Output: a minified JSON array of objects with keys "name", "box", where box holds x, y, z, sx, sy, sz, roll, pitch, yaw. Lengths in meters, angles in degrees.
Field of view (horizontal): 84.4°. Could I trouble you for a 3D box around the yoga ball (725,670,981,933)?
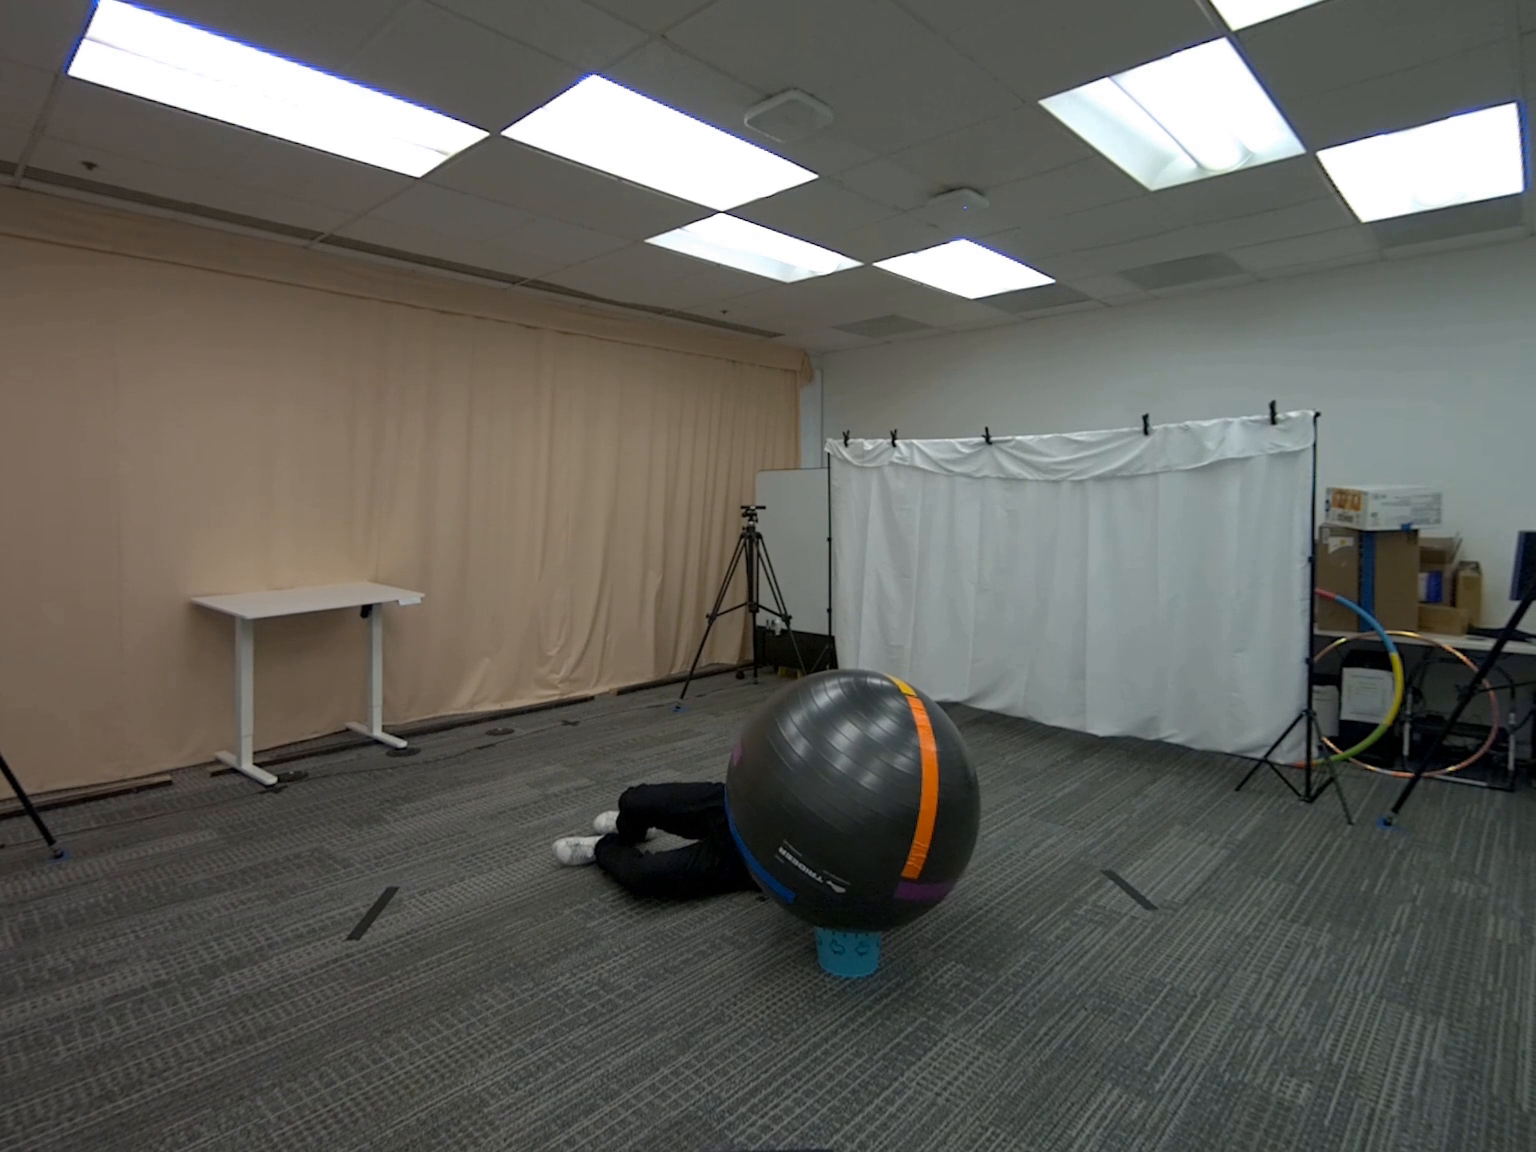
[{"name":"yoga ball","box":[0.259,0.674,2.540,0.757,0.756,0.760,0,4,-2]}]
